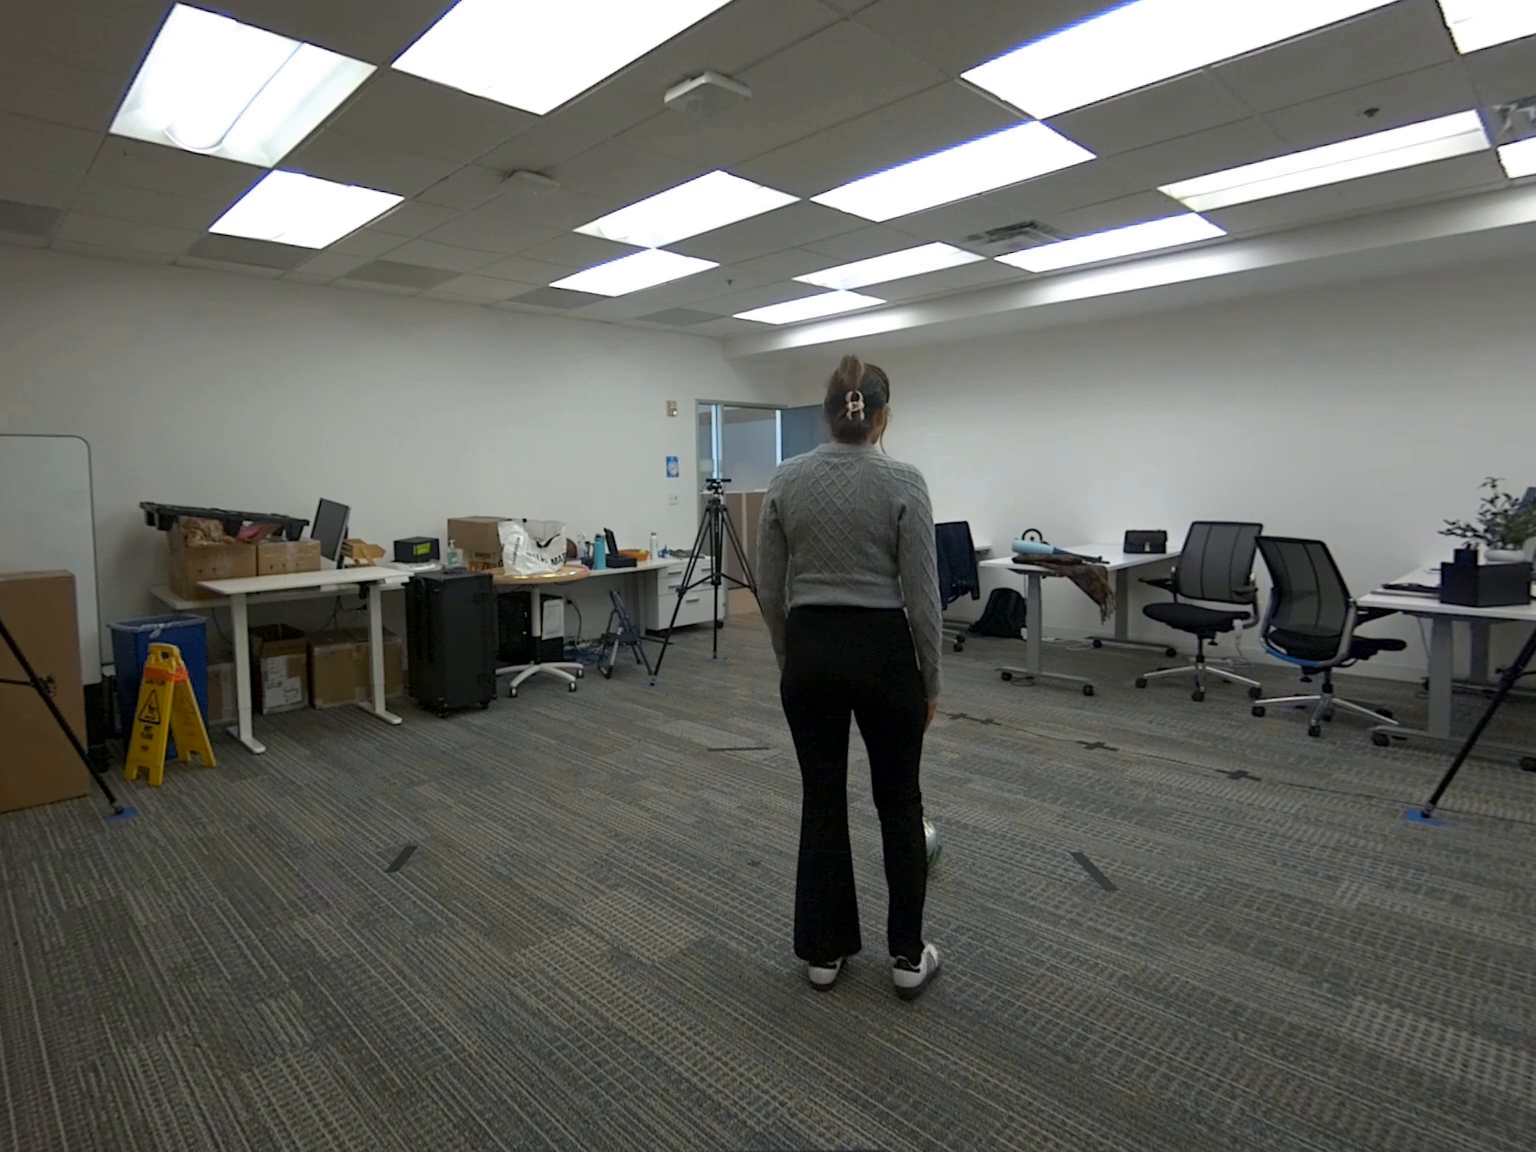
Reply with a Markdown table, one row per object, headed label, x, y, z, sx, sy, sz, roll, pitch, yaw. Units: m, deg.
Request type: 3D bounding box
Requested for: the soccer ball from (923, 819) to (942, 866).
| label | x | y | z | sx | sy | sz | roll | pitch | yaw |
| --- | --- | --- | --- | --- | --- | --- | --- | --- | --- |
| soccer ball | 0.530 | 0.948 | 3.032 | 0.187 | 0.187 | 0.188 | -1 | 5 | -2 |
